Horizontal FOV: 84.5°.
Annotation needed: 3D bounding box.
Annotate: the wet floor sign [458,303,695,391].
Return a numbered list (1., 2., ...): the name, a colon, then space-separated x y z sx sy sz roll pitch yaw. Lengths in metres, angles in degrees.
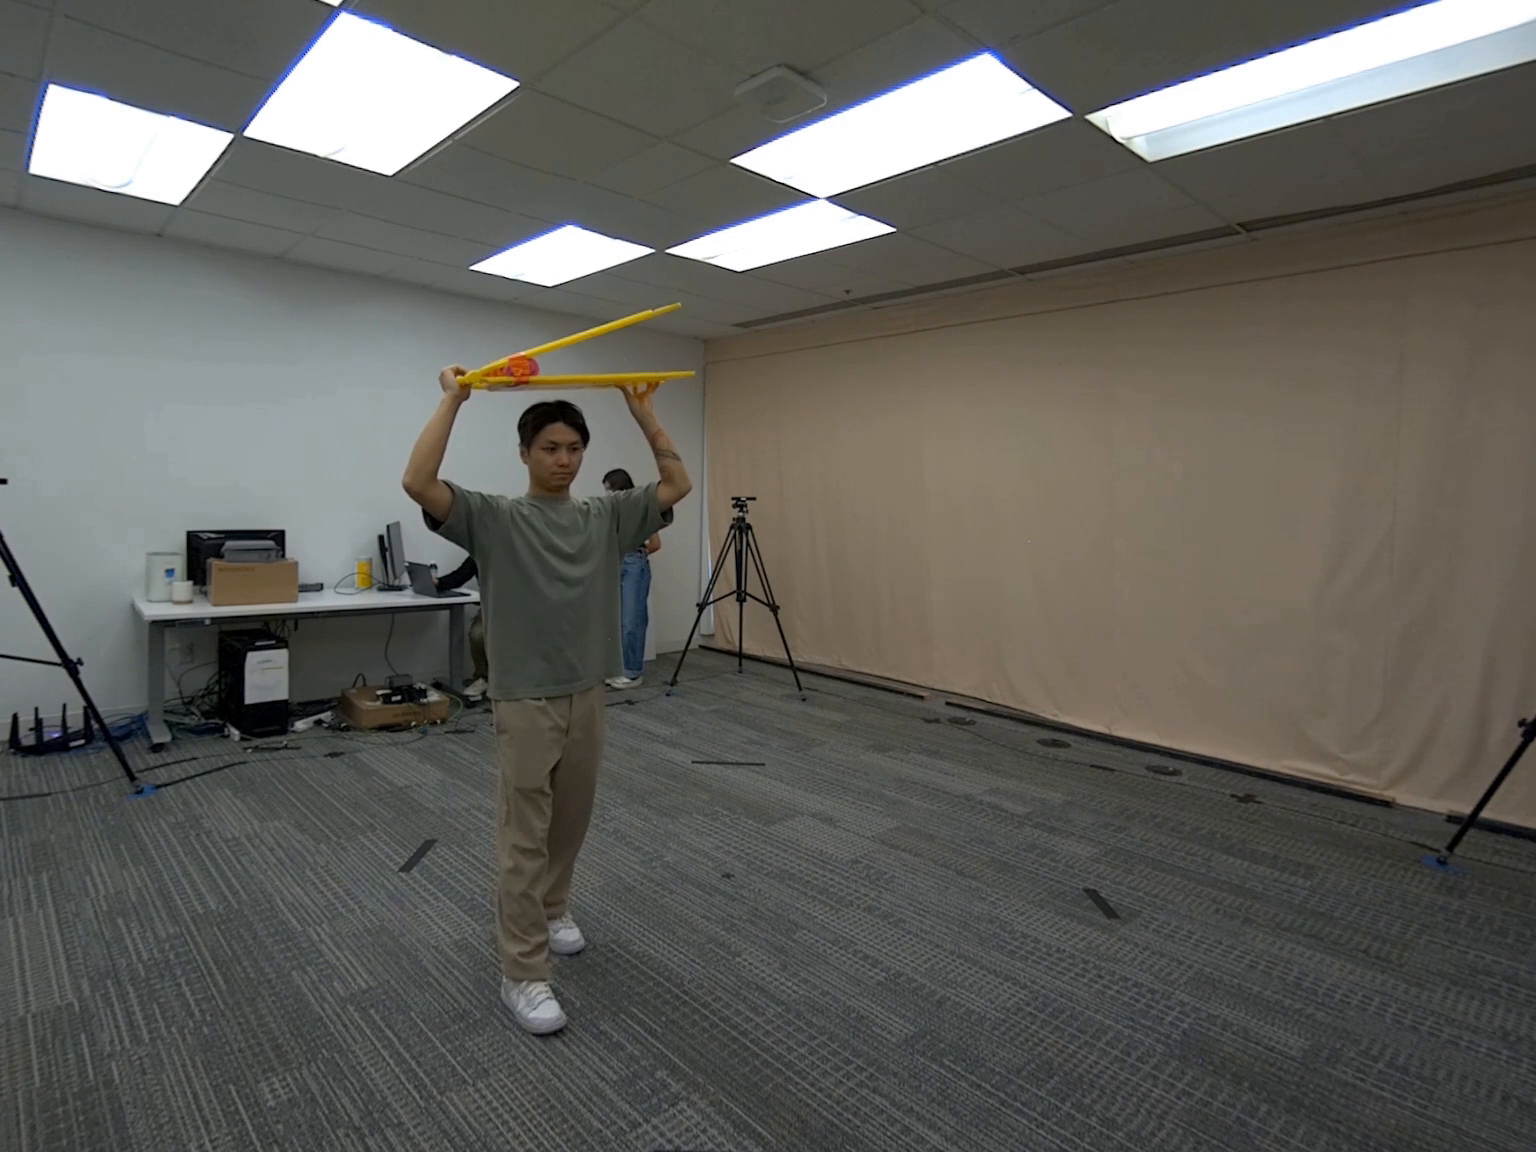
1. wet floor sign: -0.577 -0.604 2.373 0.637 0.286 0.289 -19 16 -31
